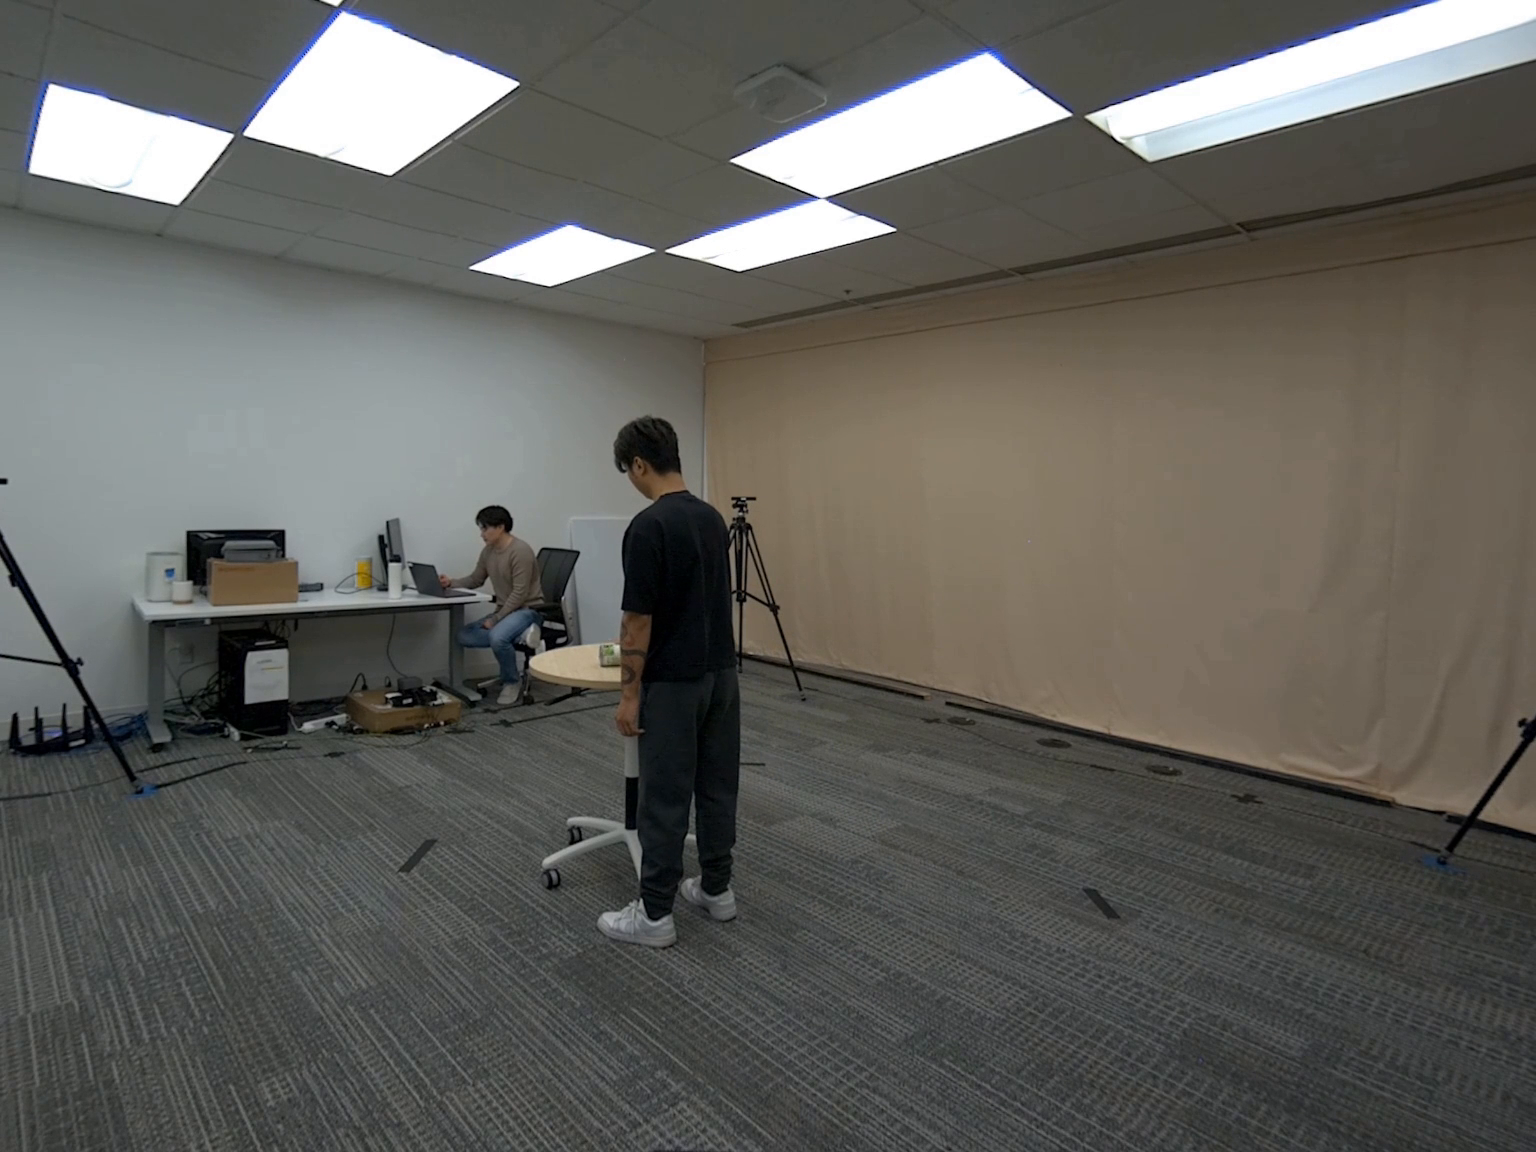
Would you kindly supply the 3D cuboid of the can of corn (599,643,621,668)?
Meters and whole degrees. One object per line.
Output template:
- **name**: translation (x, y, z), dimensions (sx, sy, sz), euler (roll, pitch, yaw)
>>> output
- **can of corn**: translation (-0.555, 0.283, 3.036), dimensions (0.111, 0.074, 0.074), euler (2, 4, -2)
